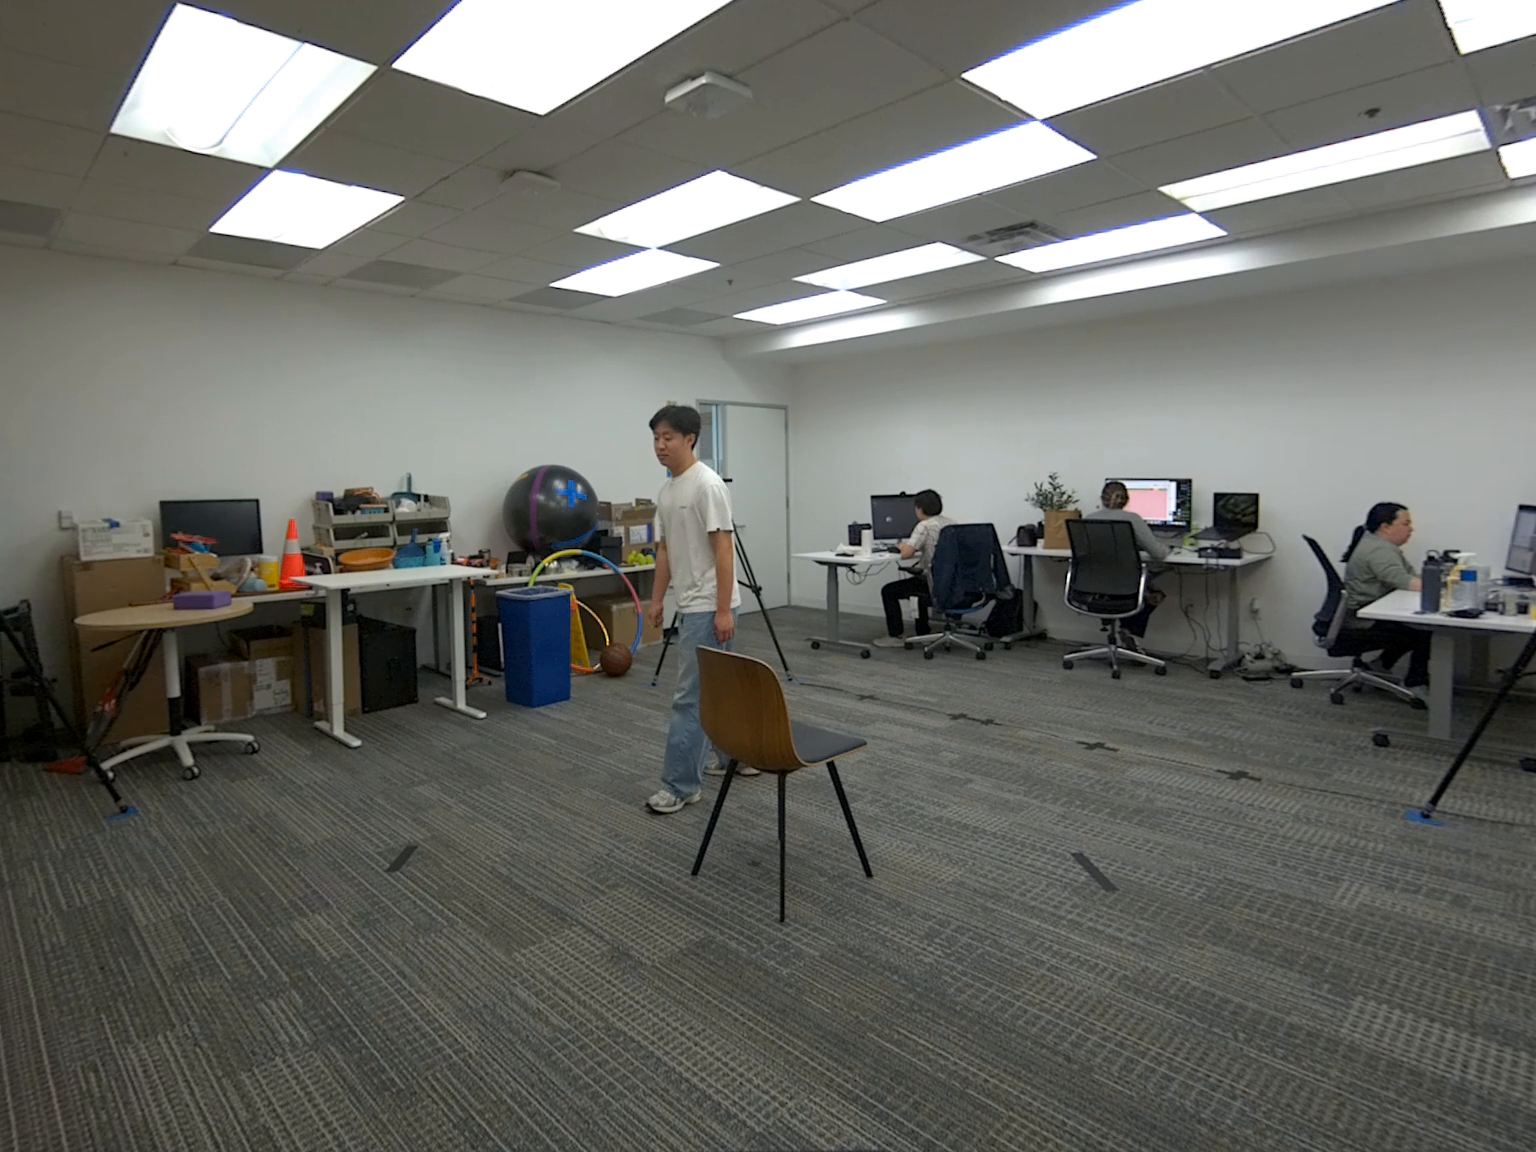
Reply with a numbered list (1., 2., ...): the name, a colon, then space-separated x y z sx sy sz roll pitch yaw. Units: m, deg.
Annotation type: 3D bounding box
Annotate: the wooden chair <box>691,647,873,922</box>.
1. wooden chair: 0.051 0.631 2.974 0.511 0.871 0.493 -10 10 -42
